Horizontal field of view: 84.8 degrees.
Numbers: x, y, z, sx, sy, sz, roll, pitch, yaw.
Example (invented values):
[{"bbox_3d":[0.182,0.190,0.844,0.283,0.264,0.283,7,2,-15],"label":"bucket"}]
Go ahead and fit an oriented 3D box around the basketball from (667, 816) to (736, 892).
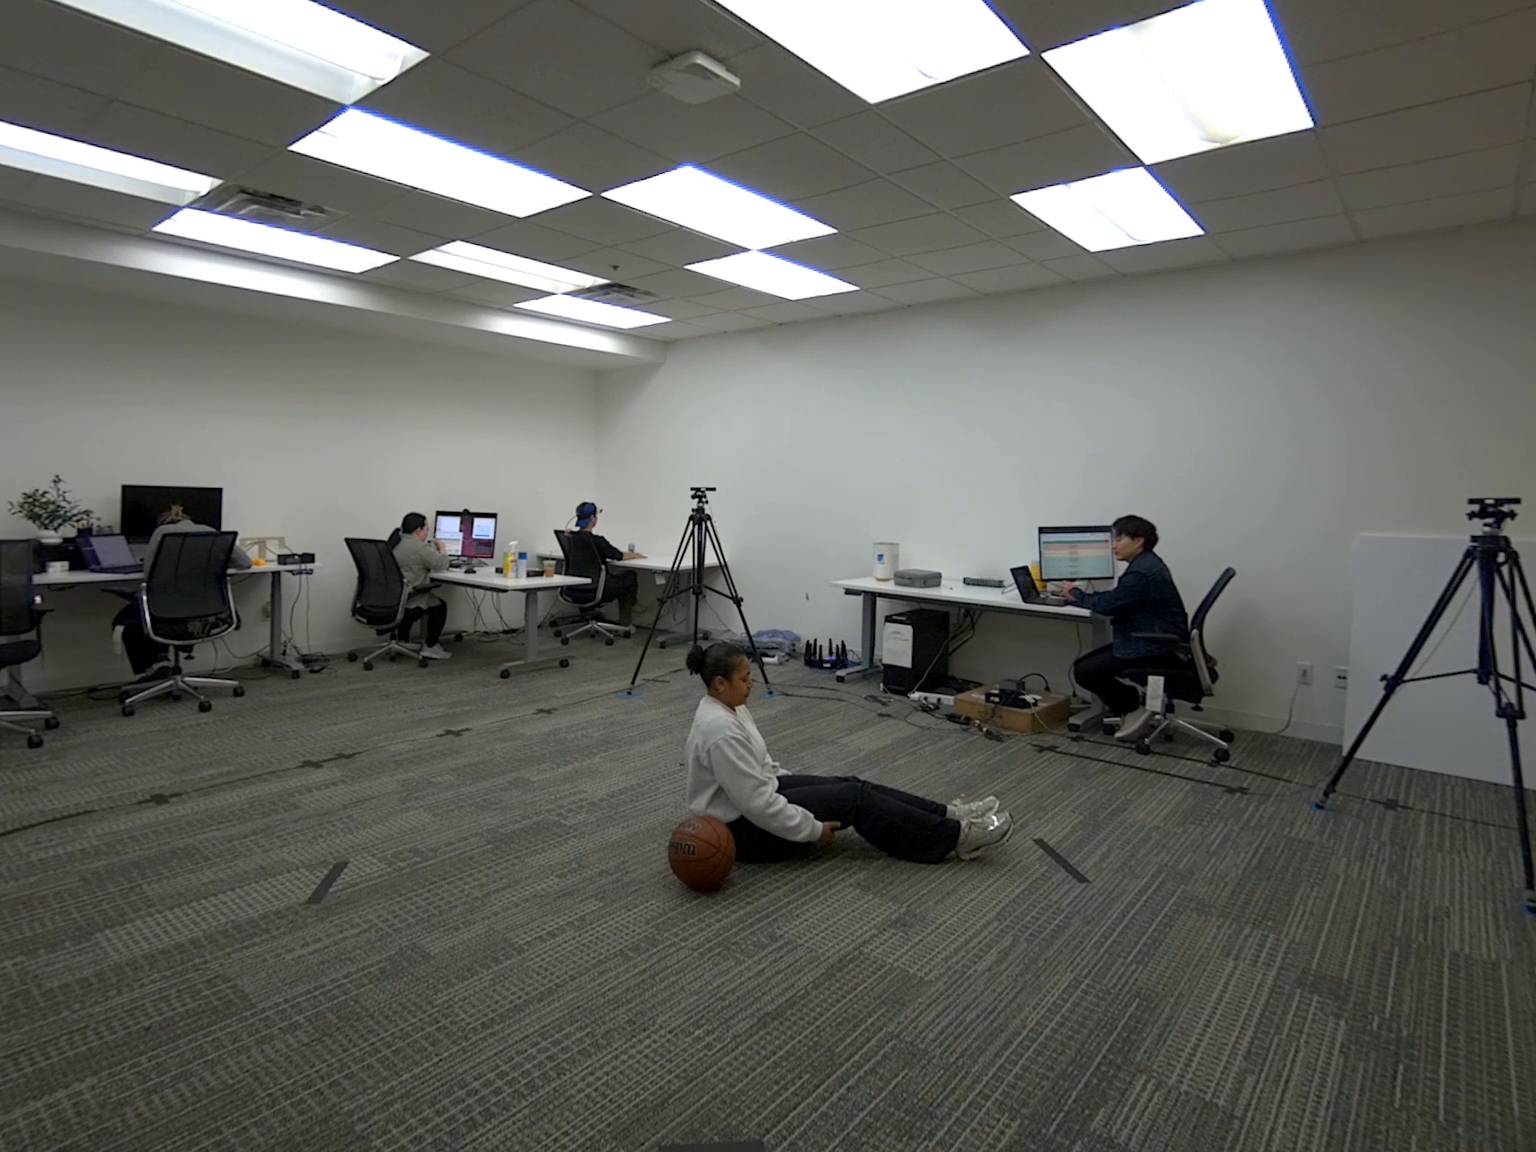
[{"bbox_3d":[-0.239,0.956,2.974,0.235,0.235,0.237,1,4,-2],"label":"basketball"}]
